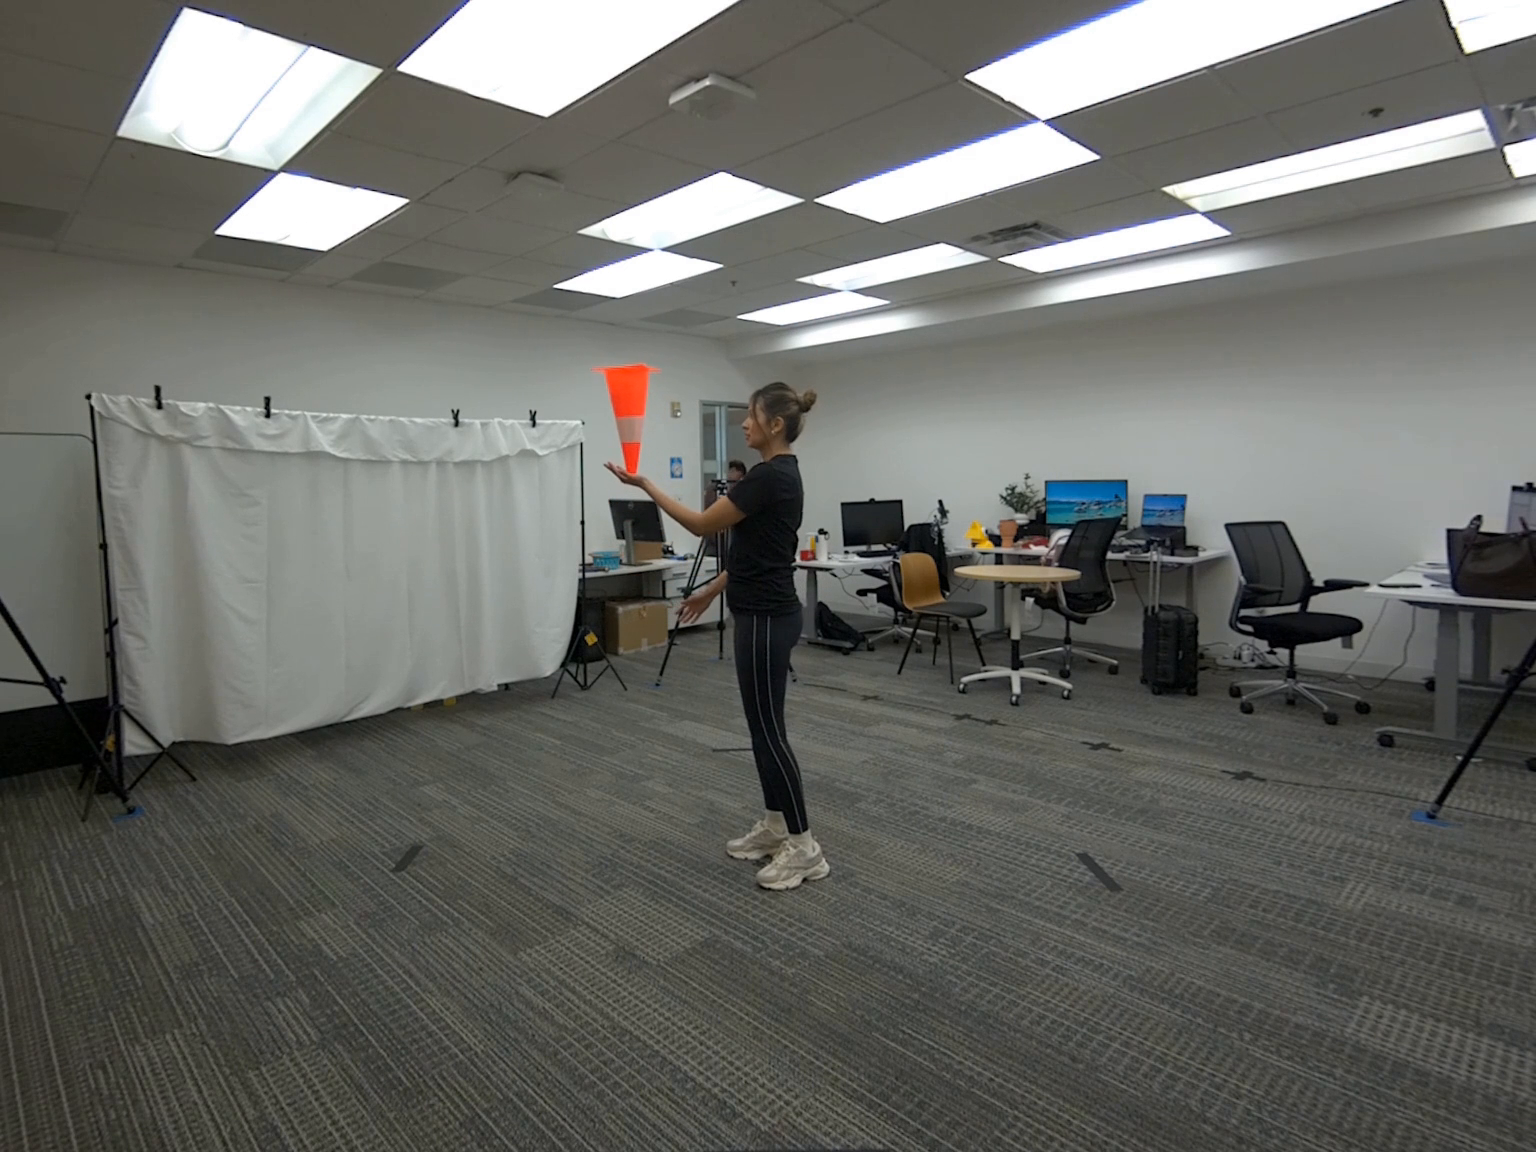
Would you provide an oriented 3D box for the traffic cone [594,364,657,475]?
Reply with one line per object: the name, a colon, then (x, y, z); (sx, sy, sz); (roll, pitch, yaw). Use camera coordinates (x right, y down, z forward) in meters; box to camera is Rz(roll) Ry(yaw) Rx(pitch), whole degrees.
traffic cone: (-0.495, -0.539, 3.025); (0.208, 0.382, 0.201); (0, 5, 17)
